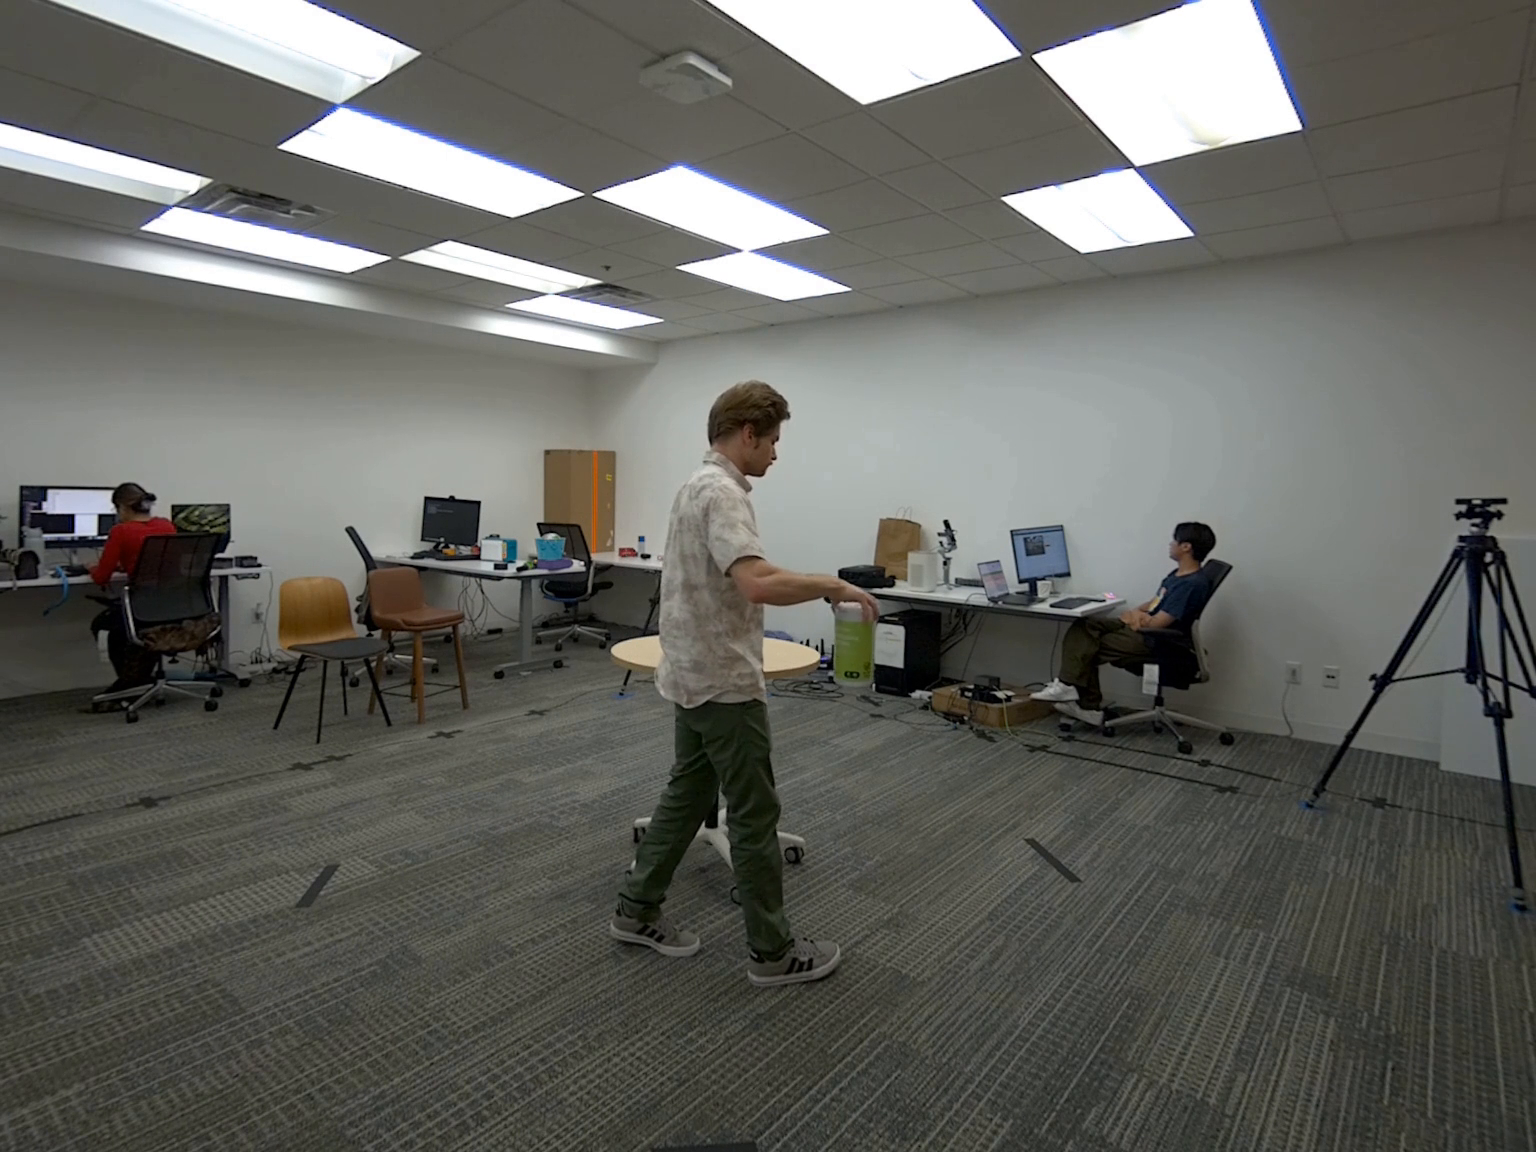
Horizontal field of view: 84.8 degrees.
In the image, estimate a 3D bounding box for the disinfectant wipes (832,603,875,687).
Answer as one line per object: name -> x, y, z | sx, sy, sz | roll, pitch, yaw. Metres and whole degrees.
disinfectant wipes -> 0.229, 0.191, 2.335 | 0.118, 0.215, 0.119 | 0, 11, -2
